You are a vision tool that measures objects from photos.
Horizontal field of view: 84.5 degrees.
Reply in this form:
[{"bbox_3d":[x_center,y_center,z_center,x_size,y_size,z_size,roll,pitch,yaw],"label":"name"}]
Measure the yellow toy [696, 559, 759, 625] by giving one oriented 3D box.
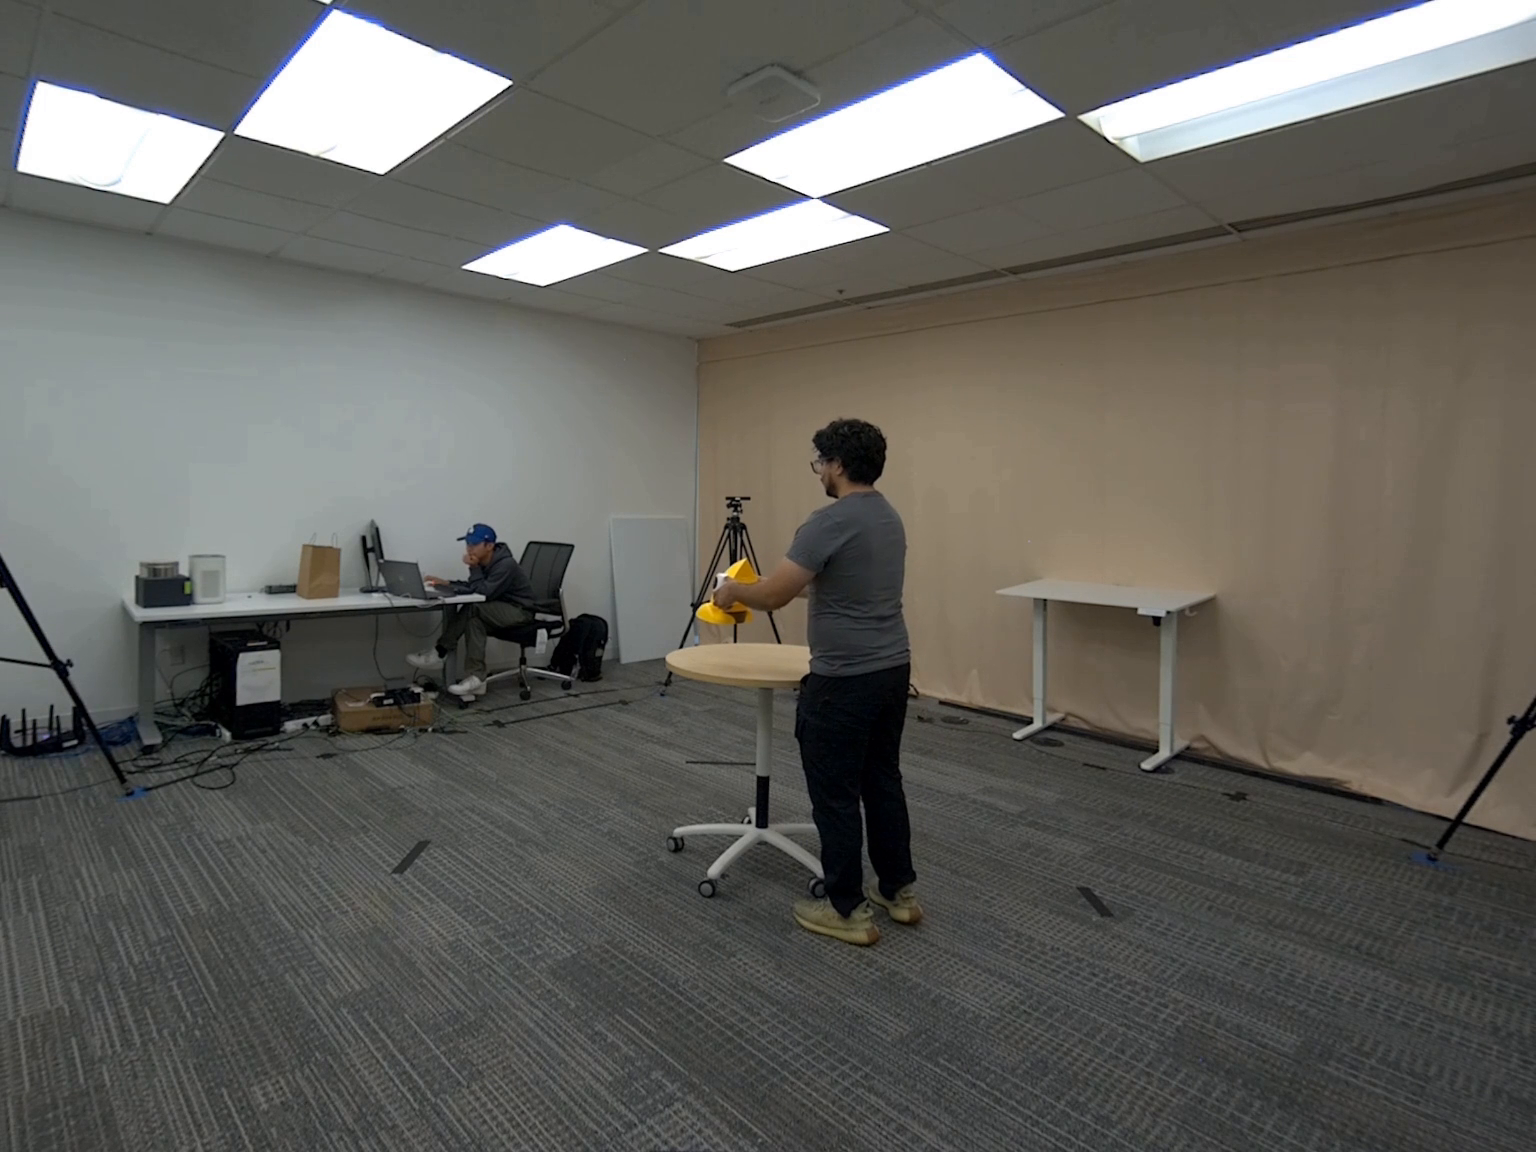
[{"bbox_3d":[-0.138,0.042,2.972,0.198,0.229,0.200,15,12,43],"label":"yellow toy"}]
